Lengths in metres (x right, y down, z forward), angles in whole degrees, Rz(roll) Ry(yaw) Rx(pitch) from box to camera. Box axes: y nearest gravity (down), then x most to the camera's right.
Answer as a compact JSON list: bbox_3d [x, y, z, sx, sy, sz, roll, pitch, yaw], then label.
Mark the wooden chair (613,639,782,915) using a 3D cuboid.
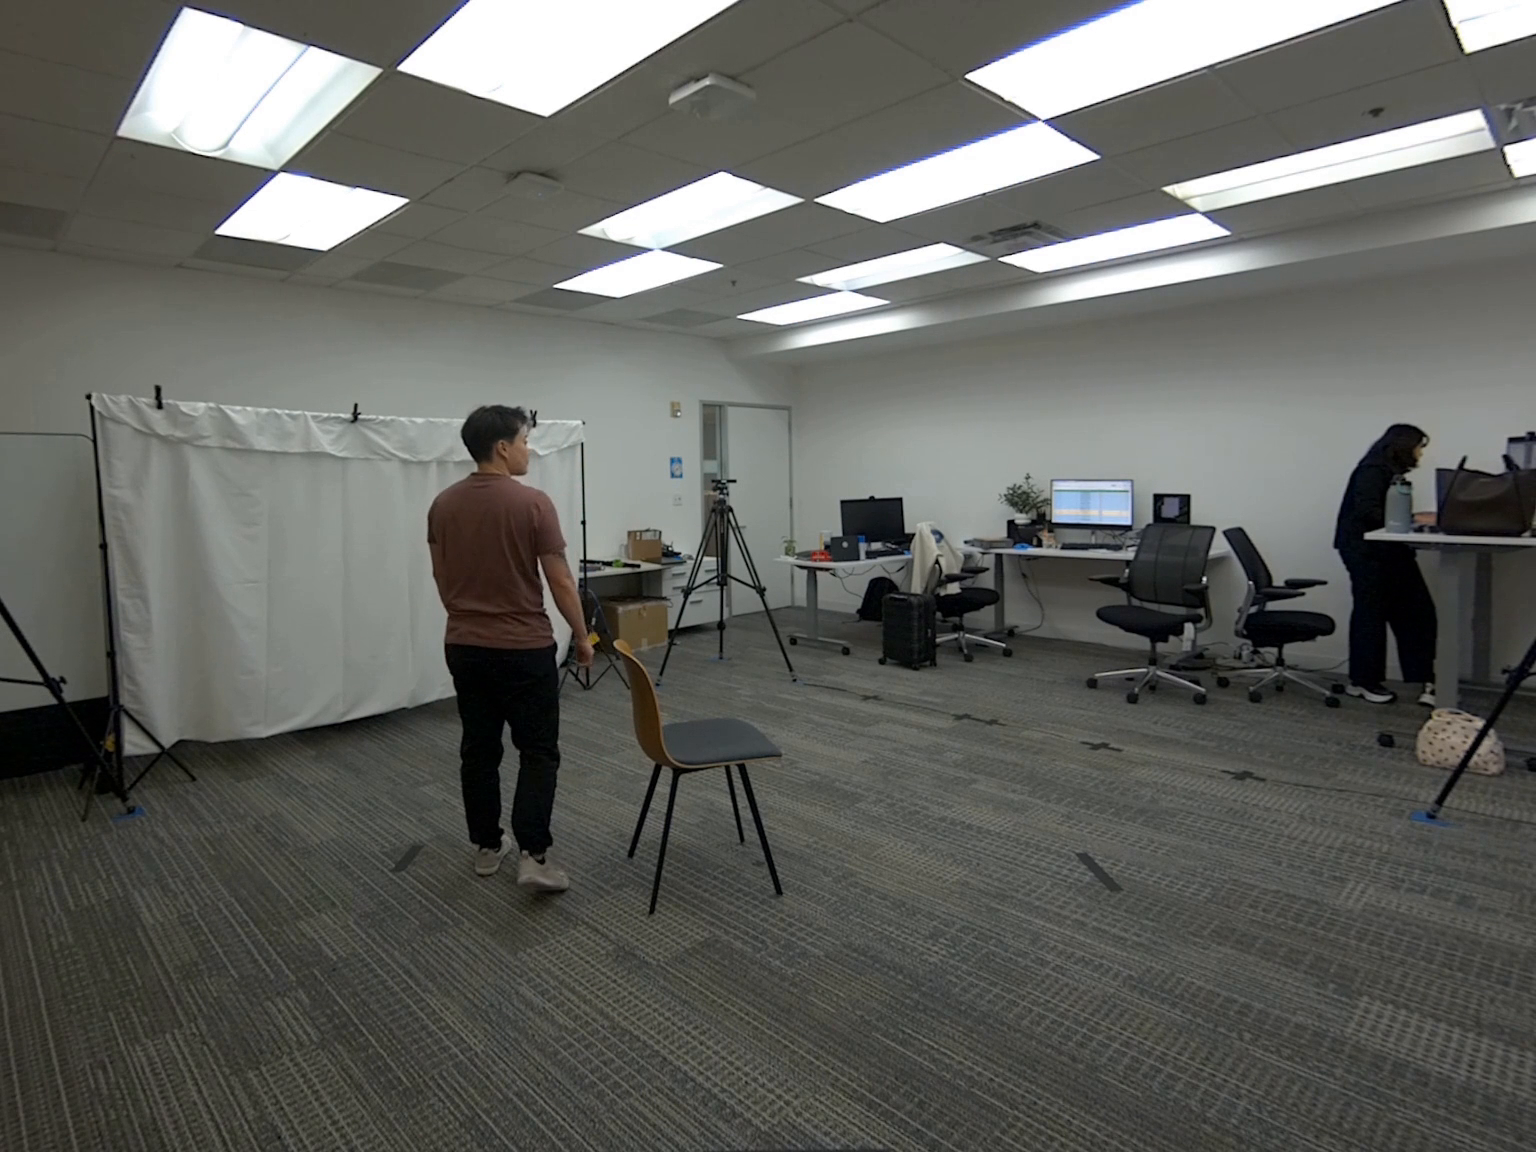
[{"bbox_3d":[-0.236,0.635,2.994,0.516,0.873,0.487,-7,5,-17],"label":"wooden chair"}]
